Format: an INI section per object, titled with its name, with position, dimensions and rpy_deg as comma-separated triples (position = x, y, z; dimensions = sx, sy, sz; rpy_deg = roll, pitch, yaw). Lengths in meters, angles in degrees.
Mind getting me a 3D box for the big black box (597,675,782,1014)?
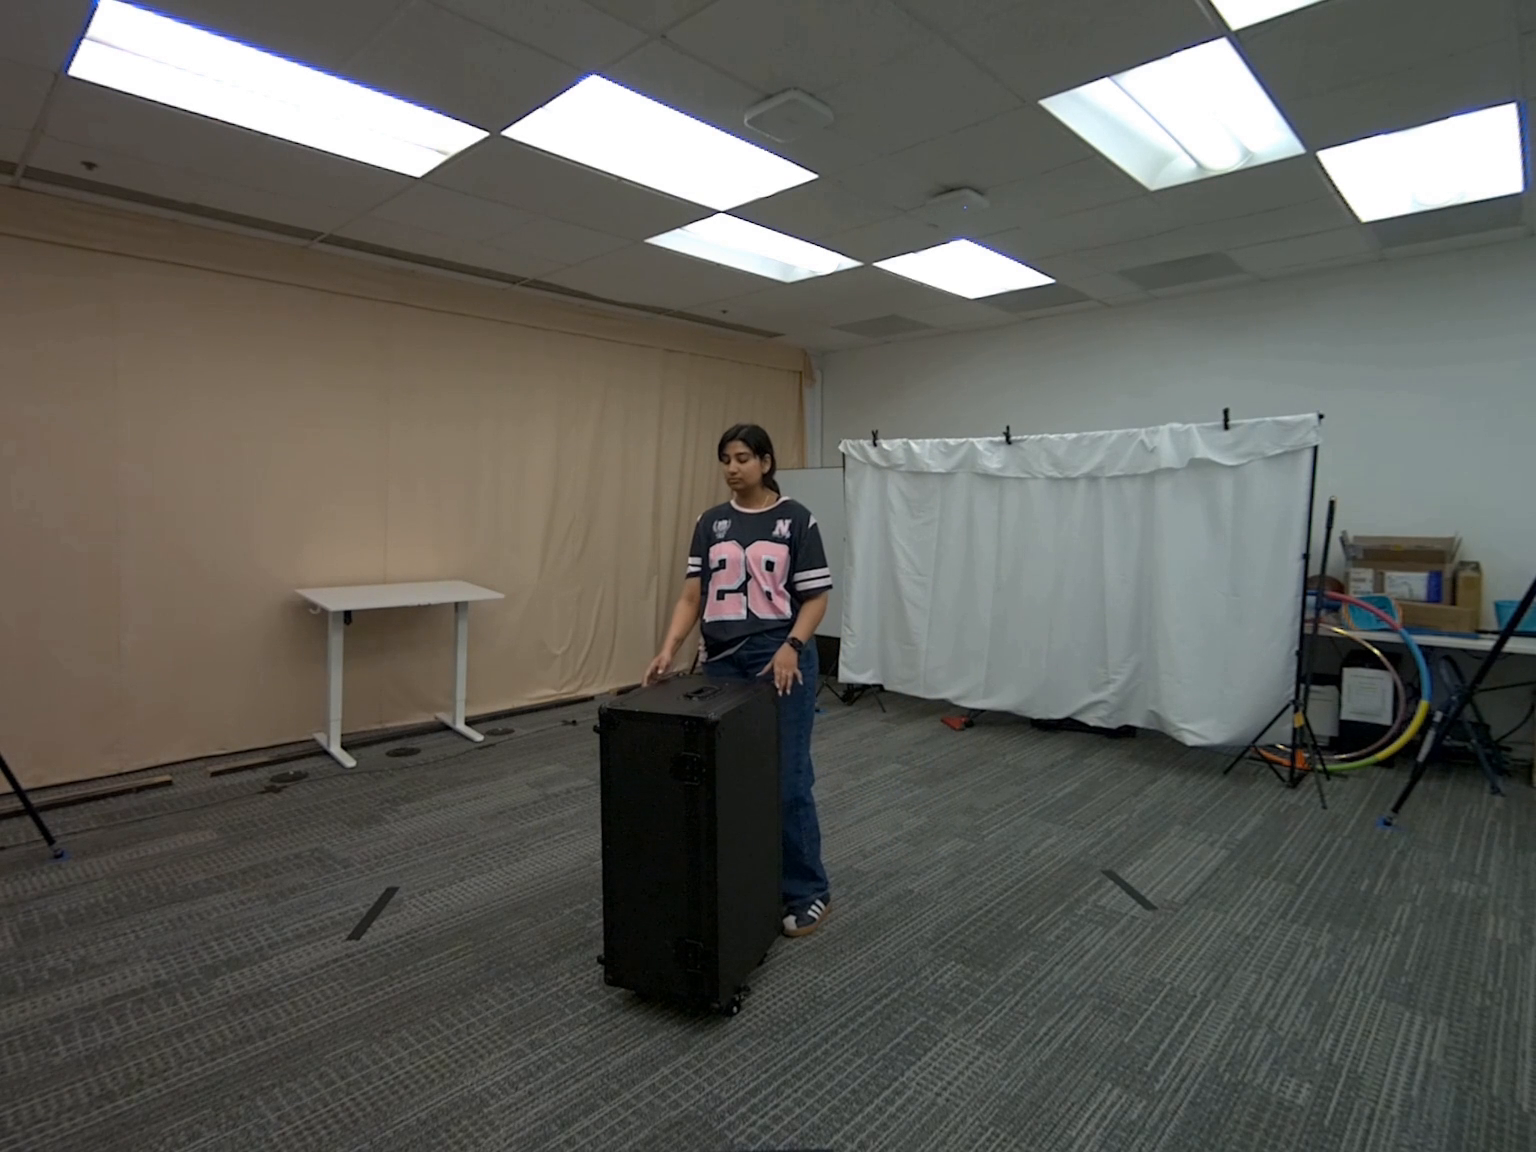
[big black box]
position = -0.214, 0.772, 2.451
dimensions = 0.394, 0.867, 0.512
rpy_deg = 0, 3, 23
